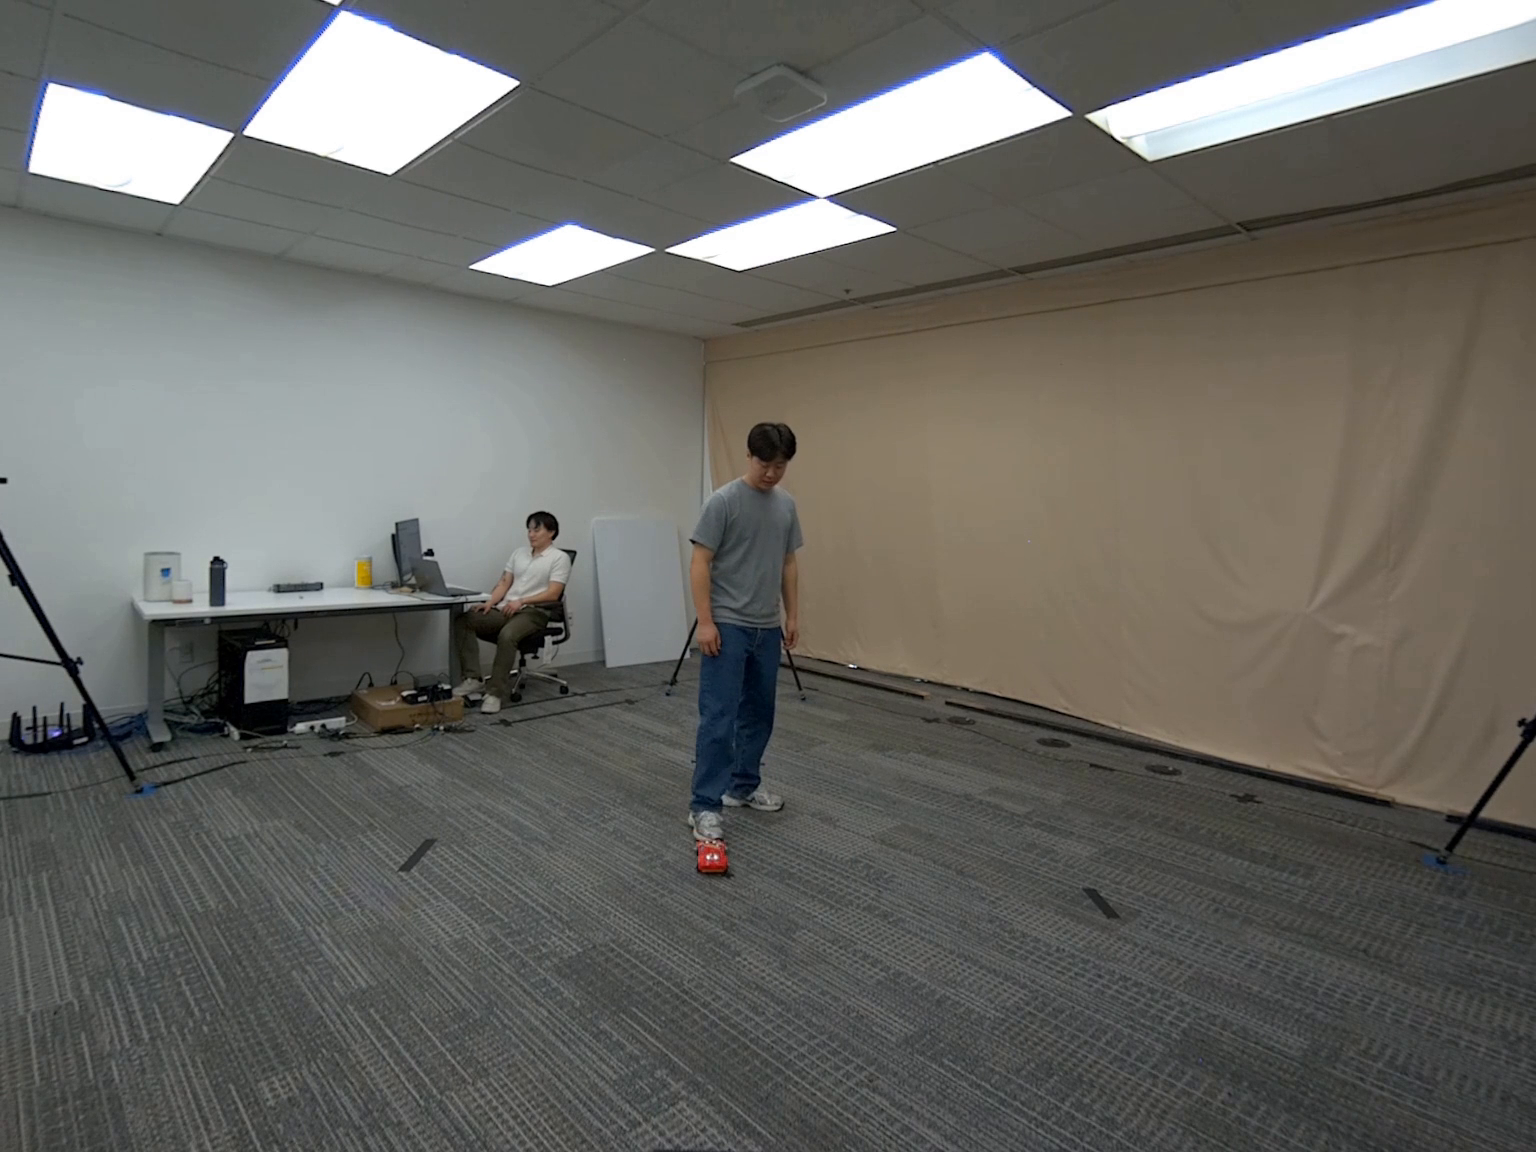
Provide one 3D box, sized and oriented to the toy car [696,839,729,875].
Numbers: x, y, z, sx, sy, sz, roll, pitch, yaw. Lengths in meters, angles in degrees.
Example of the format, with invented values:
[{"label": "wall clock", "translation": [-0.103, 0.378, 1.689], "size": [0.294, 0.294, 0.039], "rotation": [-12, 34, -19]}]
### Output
[{"label": "toy car", "translation": [-0.221, 1.066, 3.195], "size": [0.130, 0.083, 0.254], "rotation": [3, -6, -4]}]
